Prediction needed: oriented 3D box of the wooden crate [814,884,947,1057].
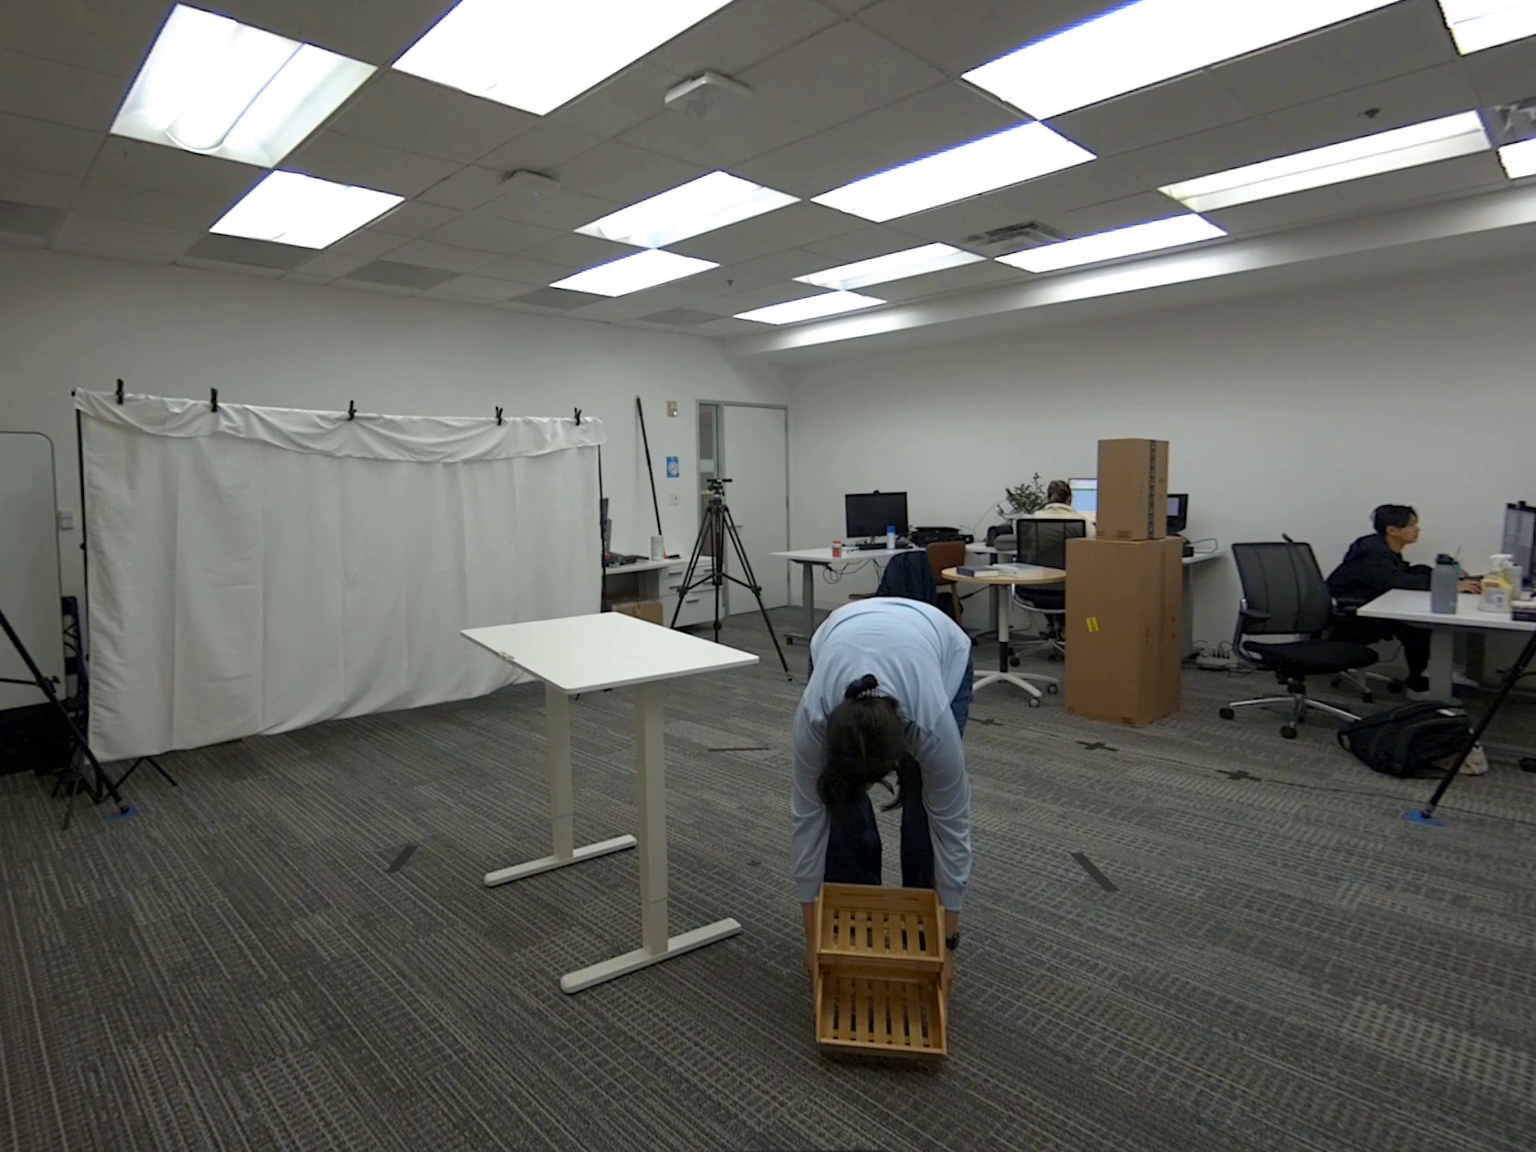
[{"bbox_3d":[0.282,0.979,2.113,0.327,0.269,0.304,0,16,8],"label":"wooden crate"}]
